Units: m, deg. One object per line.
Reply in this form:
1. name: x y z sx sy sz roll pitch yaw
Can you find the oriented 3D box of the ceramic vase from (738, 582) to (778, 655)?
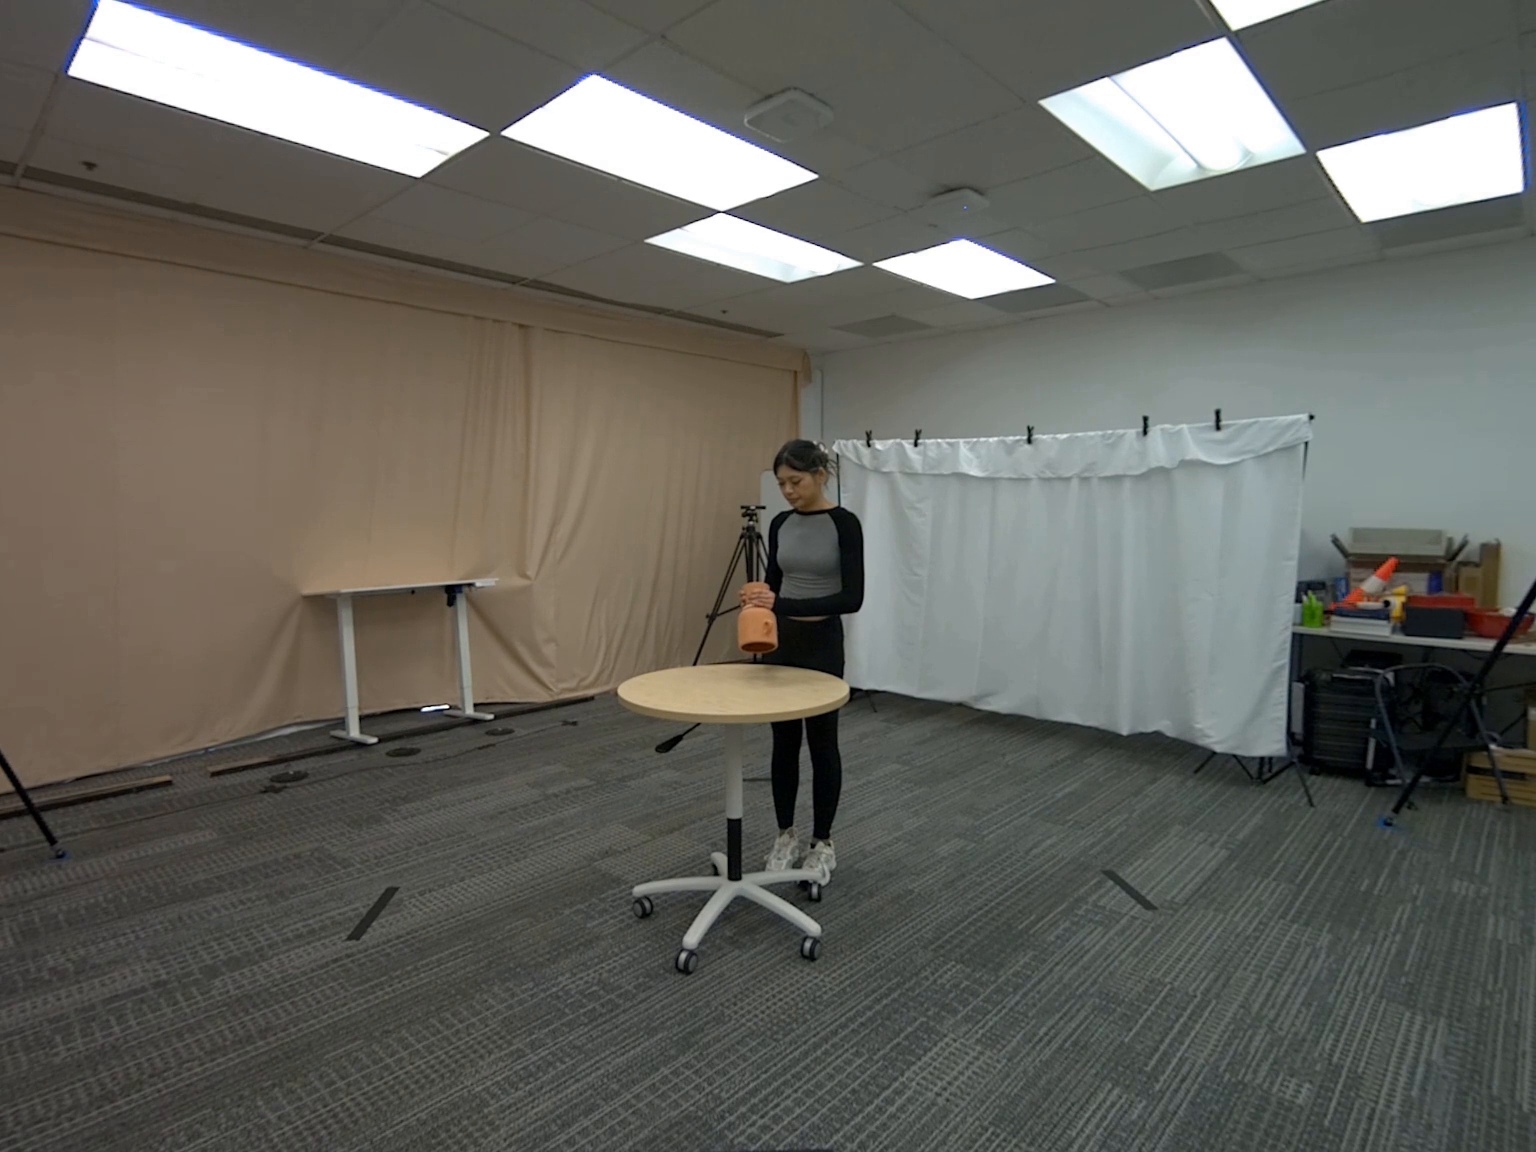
1. ceramic vase: -0.038 0.140 2.906 0.162 0.223 0.130 -12 -27 22
